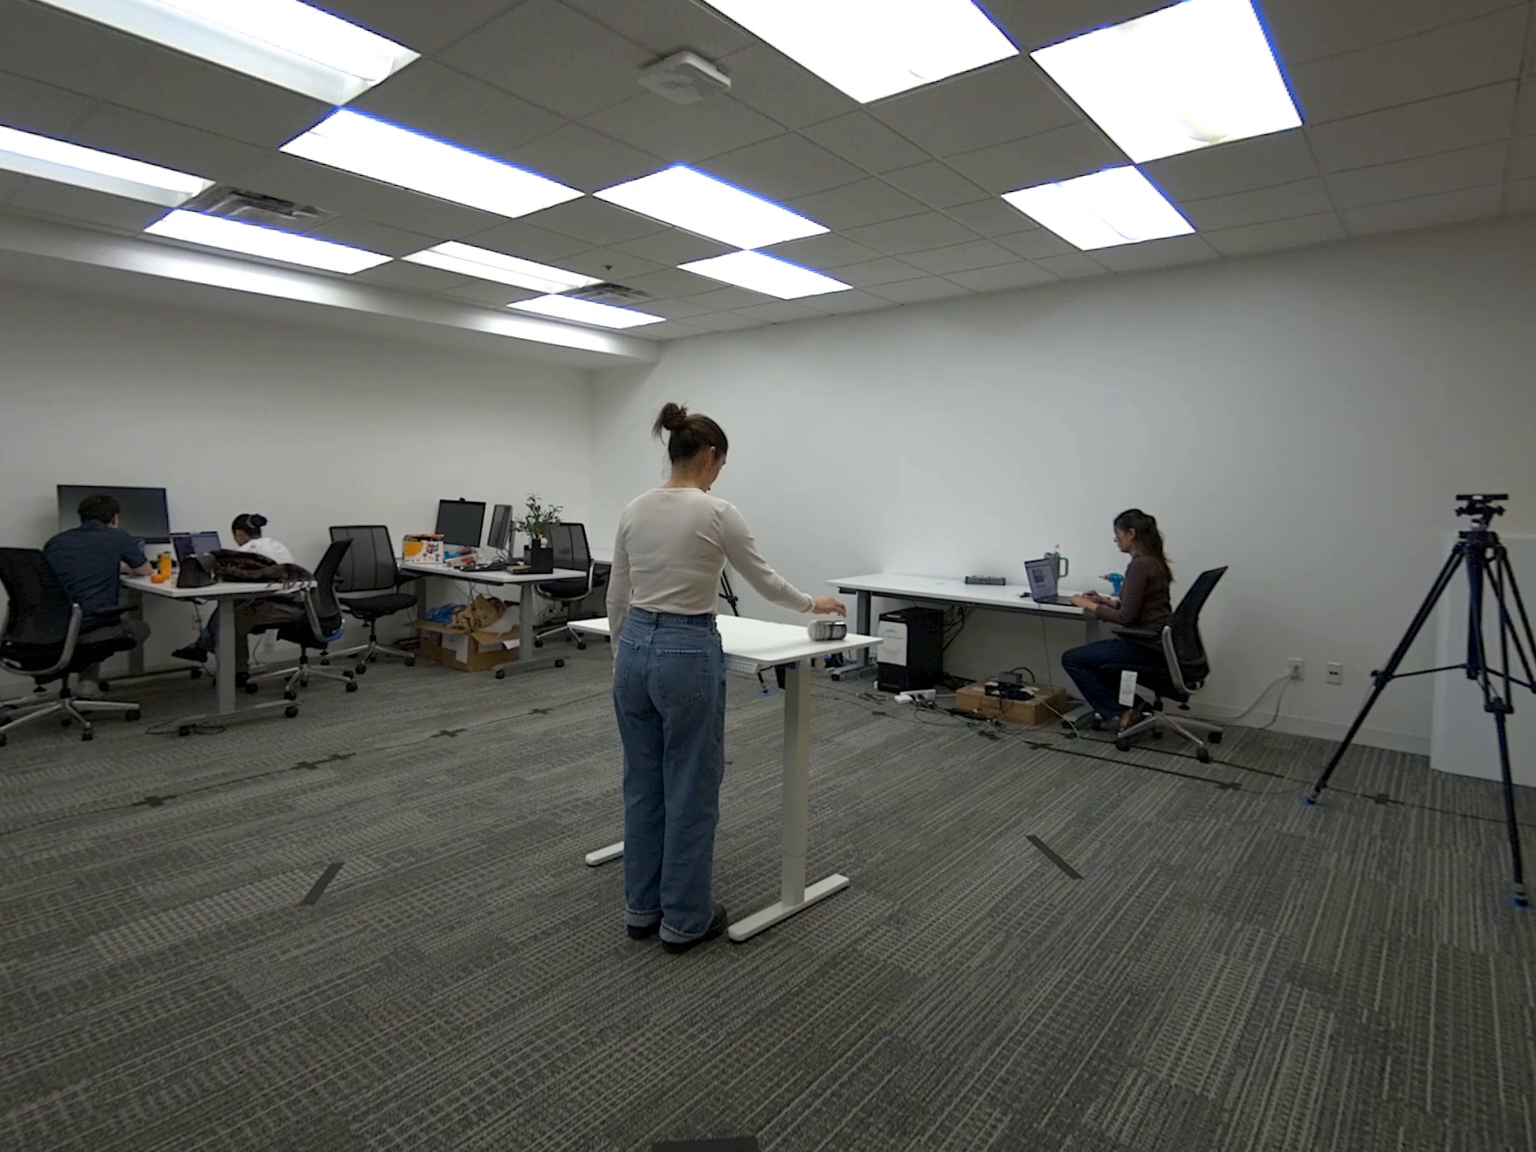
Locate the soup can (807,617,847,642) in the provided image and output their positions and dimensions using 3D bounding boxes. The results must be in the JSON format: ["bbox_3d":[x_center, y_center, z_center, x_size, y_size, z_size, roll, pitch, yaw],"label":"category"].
[{"bbox_3d":[0.191,0.178,2.867,0.120,0.067,0.068,1,4,-9],"label":"soup can"}]
